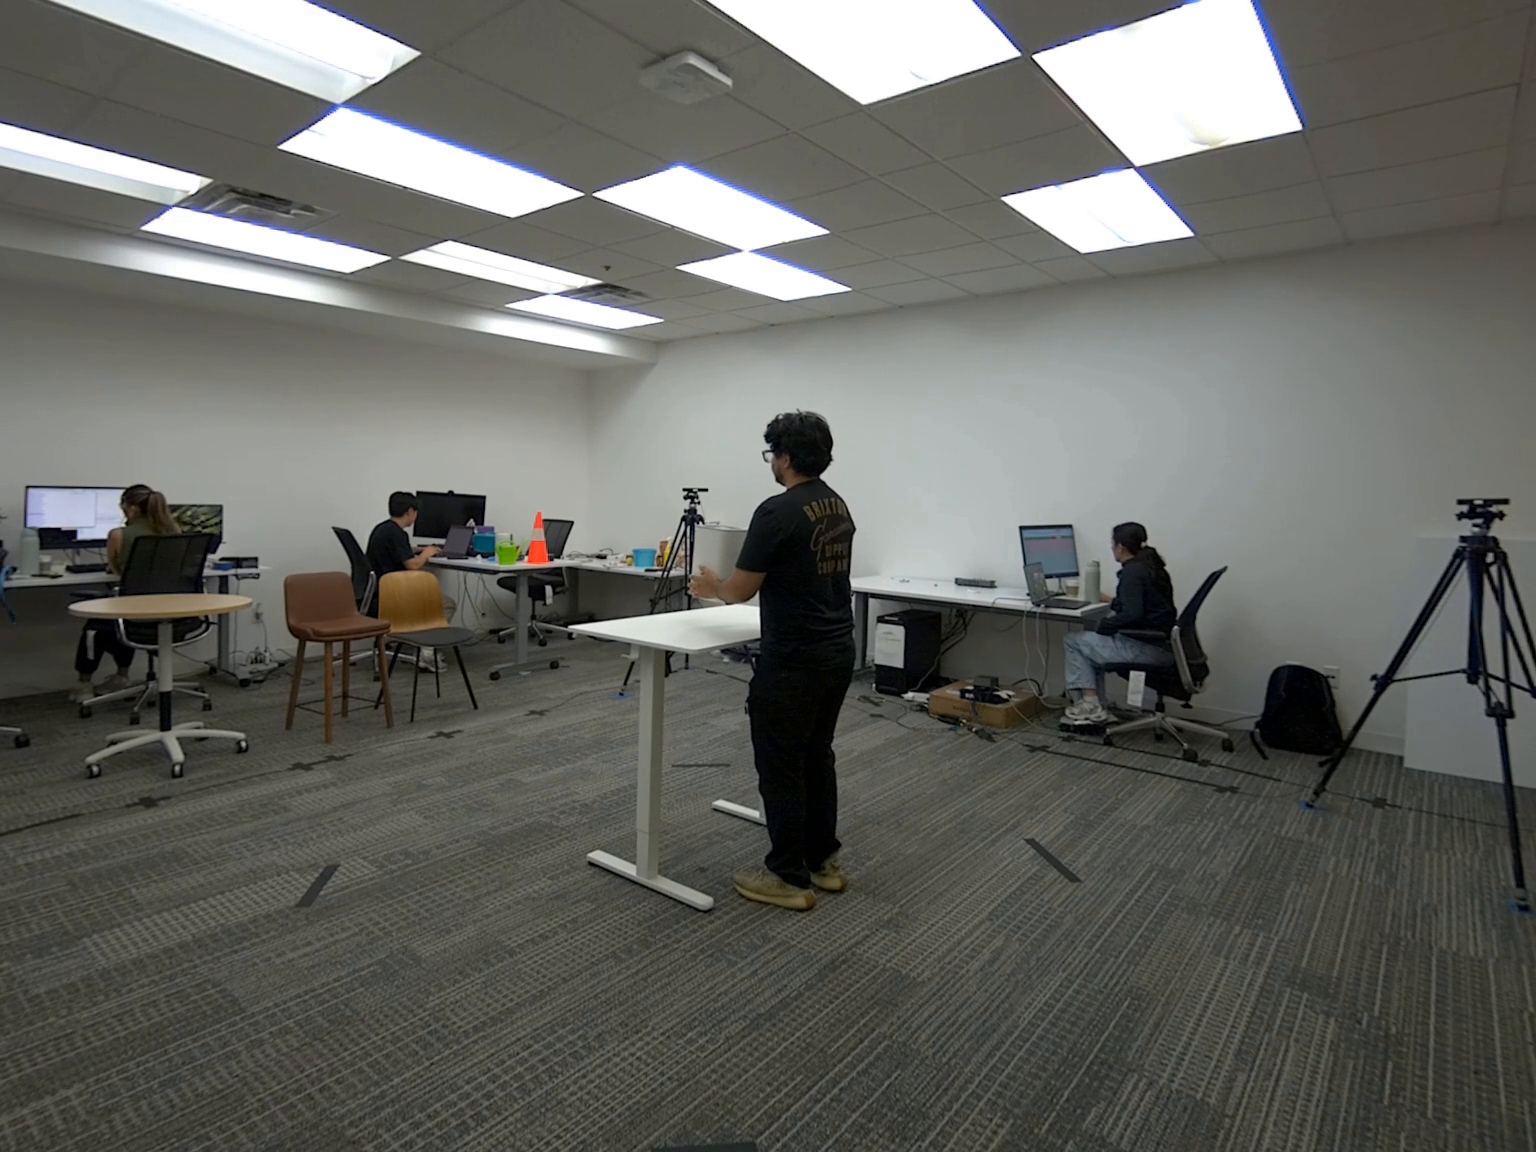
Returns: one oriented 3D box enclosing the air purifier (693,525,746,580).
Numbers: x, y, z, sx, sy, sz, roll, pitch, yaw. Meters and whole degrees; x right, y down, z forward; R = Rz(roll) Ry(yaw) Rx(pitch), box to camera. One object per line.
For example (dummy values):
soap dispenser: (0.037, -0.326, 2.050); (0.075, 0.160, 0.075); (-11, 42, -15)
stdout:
air purifier: (-0.187, -0.053, 3.129); (0.177, 0.264, 0.166); (9, 6, 37)
